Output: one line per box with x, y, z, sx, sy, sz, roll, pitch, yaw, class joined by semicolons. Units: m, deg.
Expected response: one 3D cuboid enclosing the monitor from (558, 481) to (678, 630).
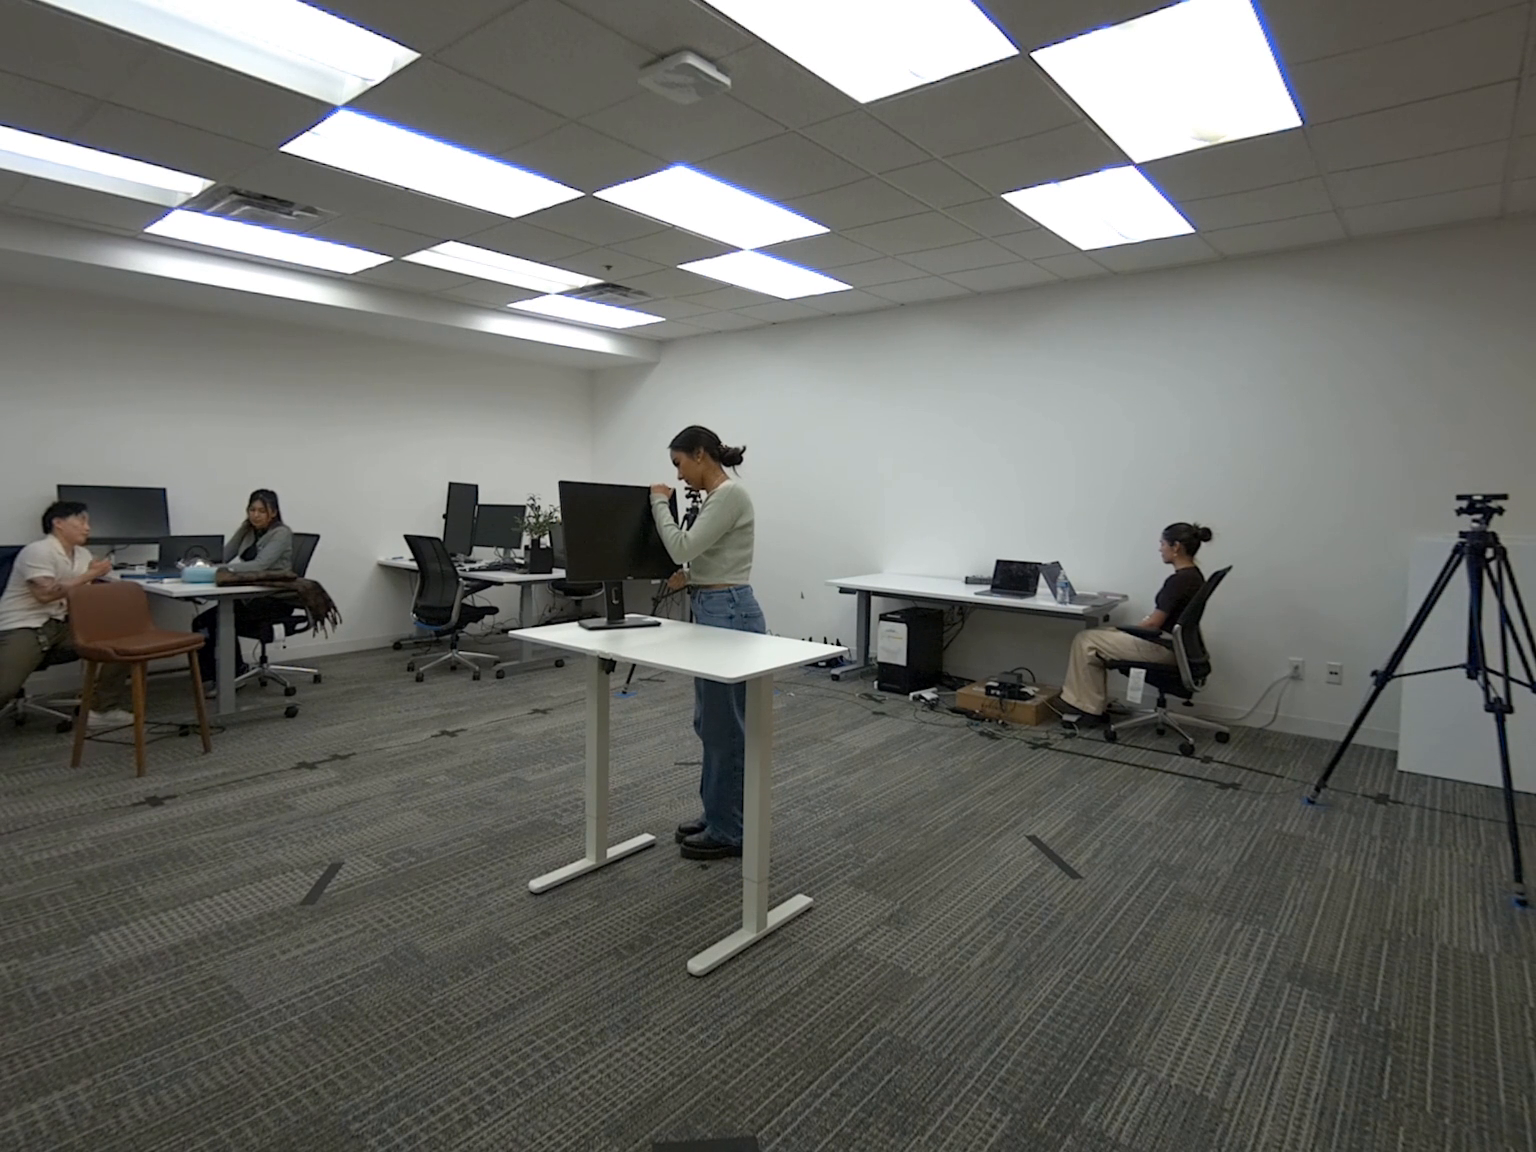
-0.561;-0.077;3.113;0.193;0.522;0.522;3;3;42;monitor
